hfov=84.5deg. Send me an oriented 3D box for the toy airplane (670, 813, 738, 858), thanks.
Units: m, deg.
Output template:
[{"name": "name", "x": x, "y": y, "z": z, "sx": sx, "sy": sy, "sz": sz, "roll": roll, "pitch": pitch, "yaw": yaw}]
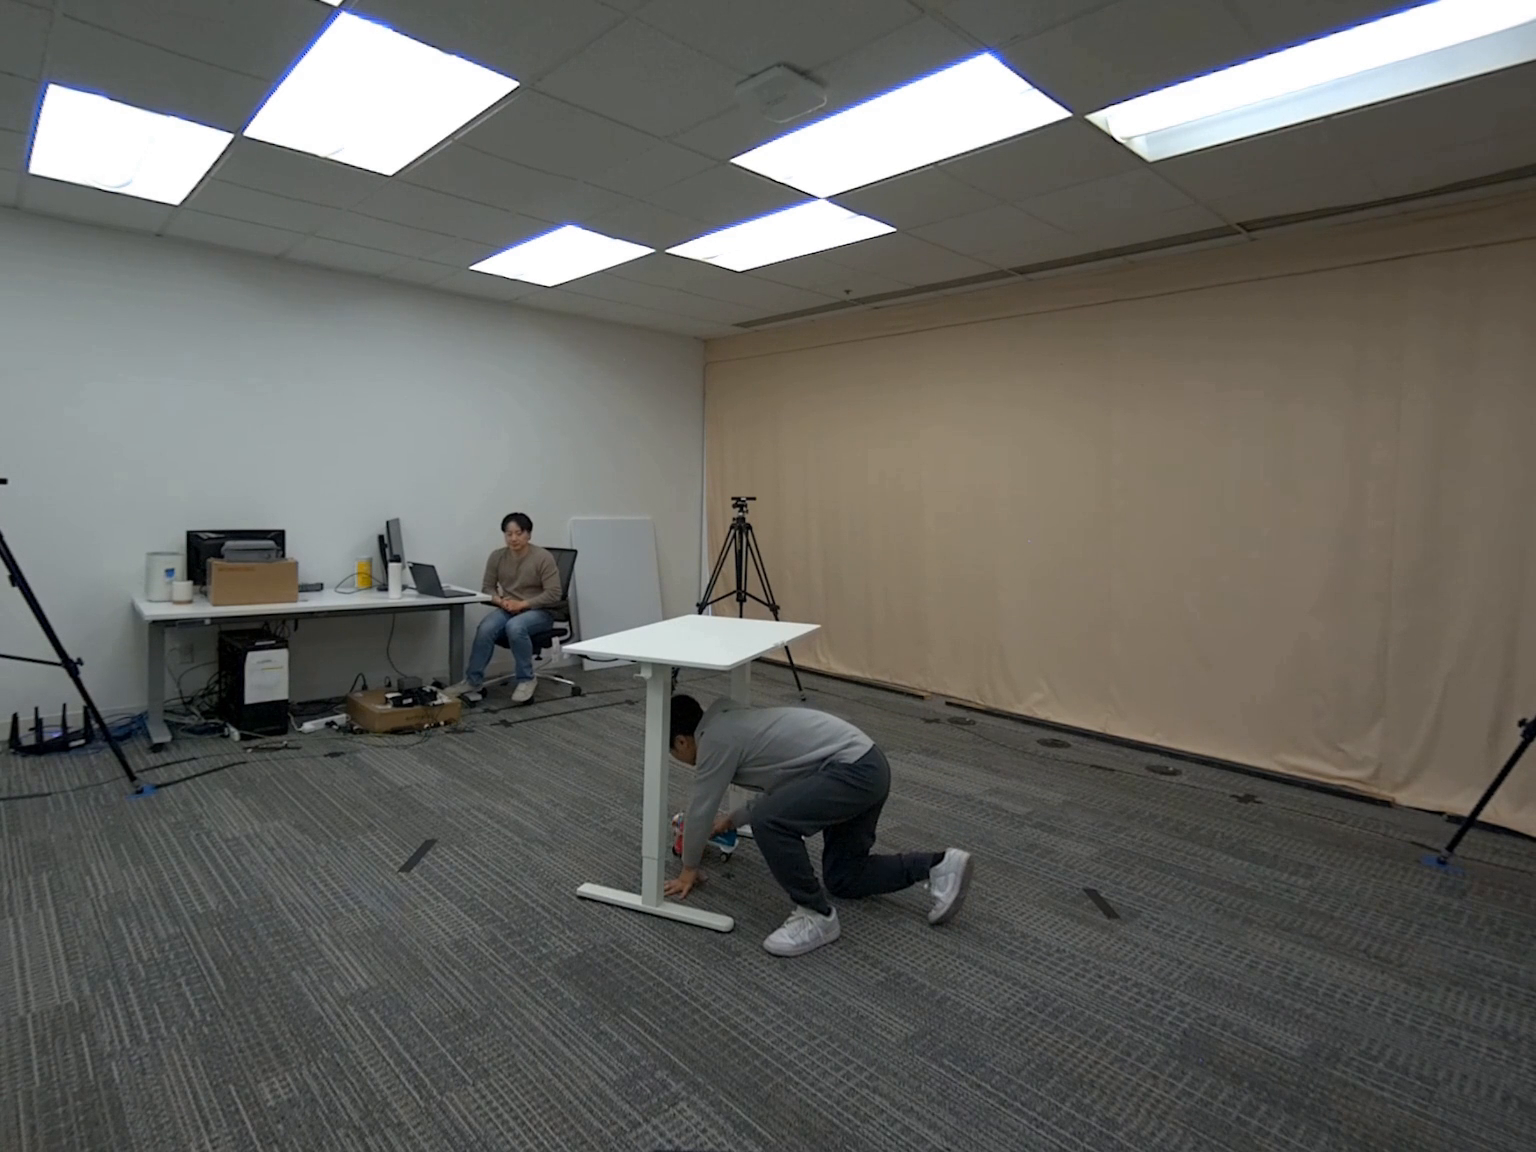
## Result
[{"name": "toy airplane", "x": -0.254, "y": 1.017, "z": 3.292, "sx": 0.256, "sy": 0.156, "sz": 0.254, "roll": -1, "pitch": 6, "yaw": -13}]
